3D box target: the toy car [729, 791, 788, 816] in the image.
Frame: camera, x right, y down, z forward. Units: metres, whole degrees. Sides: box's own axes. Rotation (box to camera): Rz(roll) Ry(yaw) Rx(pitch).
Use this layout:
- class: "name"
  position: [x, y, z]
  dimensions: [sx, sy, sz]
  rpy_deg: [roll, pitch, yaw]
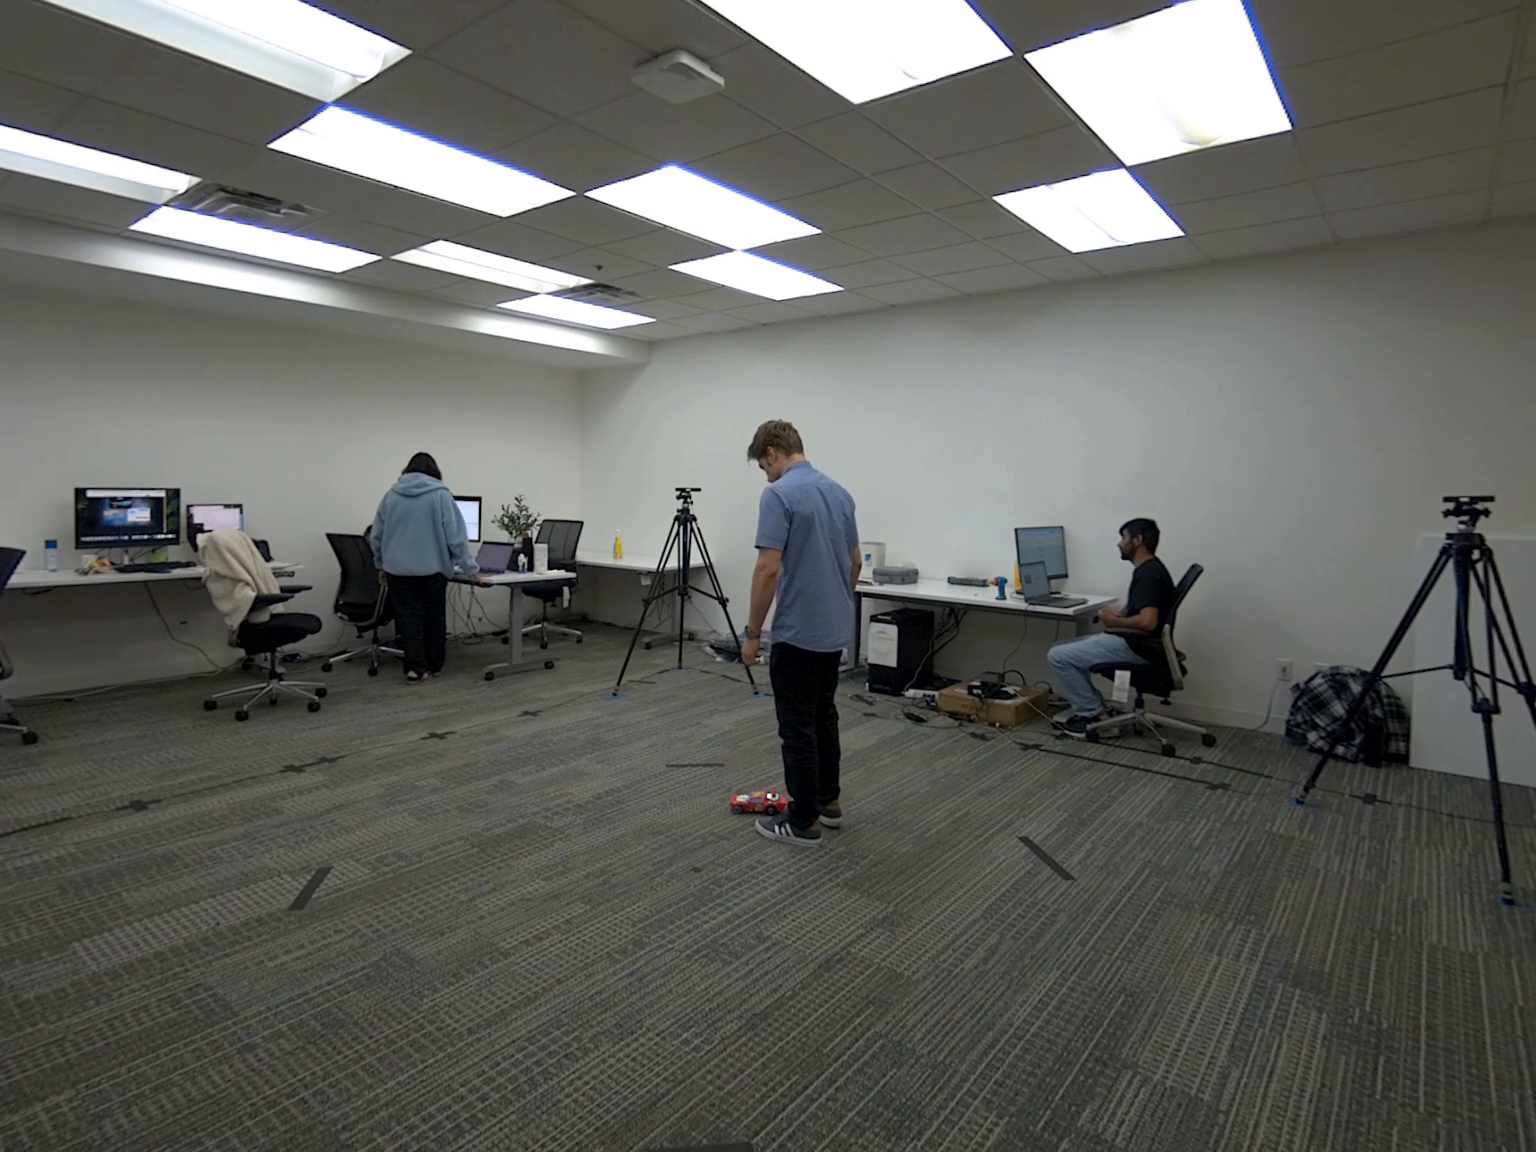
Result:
- class: "toy car"
  position: [-0.048, 0.987, 3.692]
  dimensions: [0.256, 0.083, 0.130]
  rpy_deg: [-9, 3, 5]
